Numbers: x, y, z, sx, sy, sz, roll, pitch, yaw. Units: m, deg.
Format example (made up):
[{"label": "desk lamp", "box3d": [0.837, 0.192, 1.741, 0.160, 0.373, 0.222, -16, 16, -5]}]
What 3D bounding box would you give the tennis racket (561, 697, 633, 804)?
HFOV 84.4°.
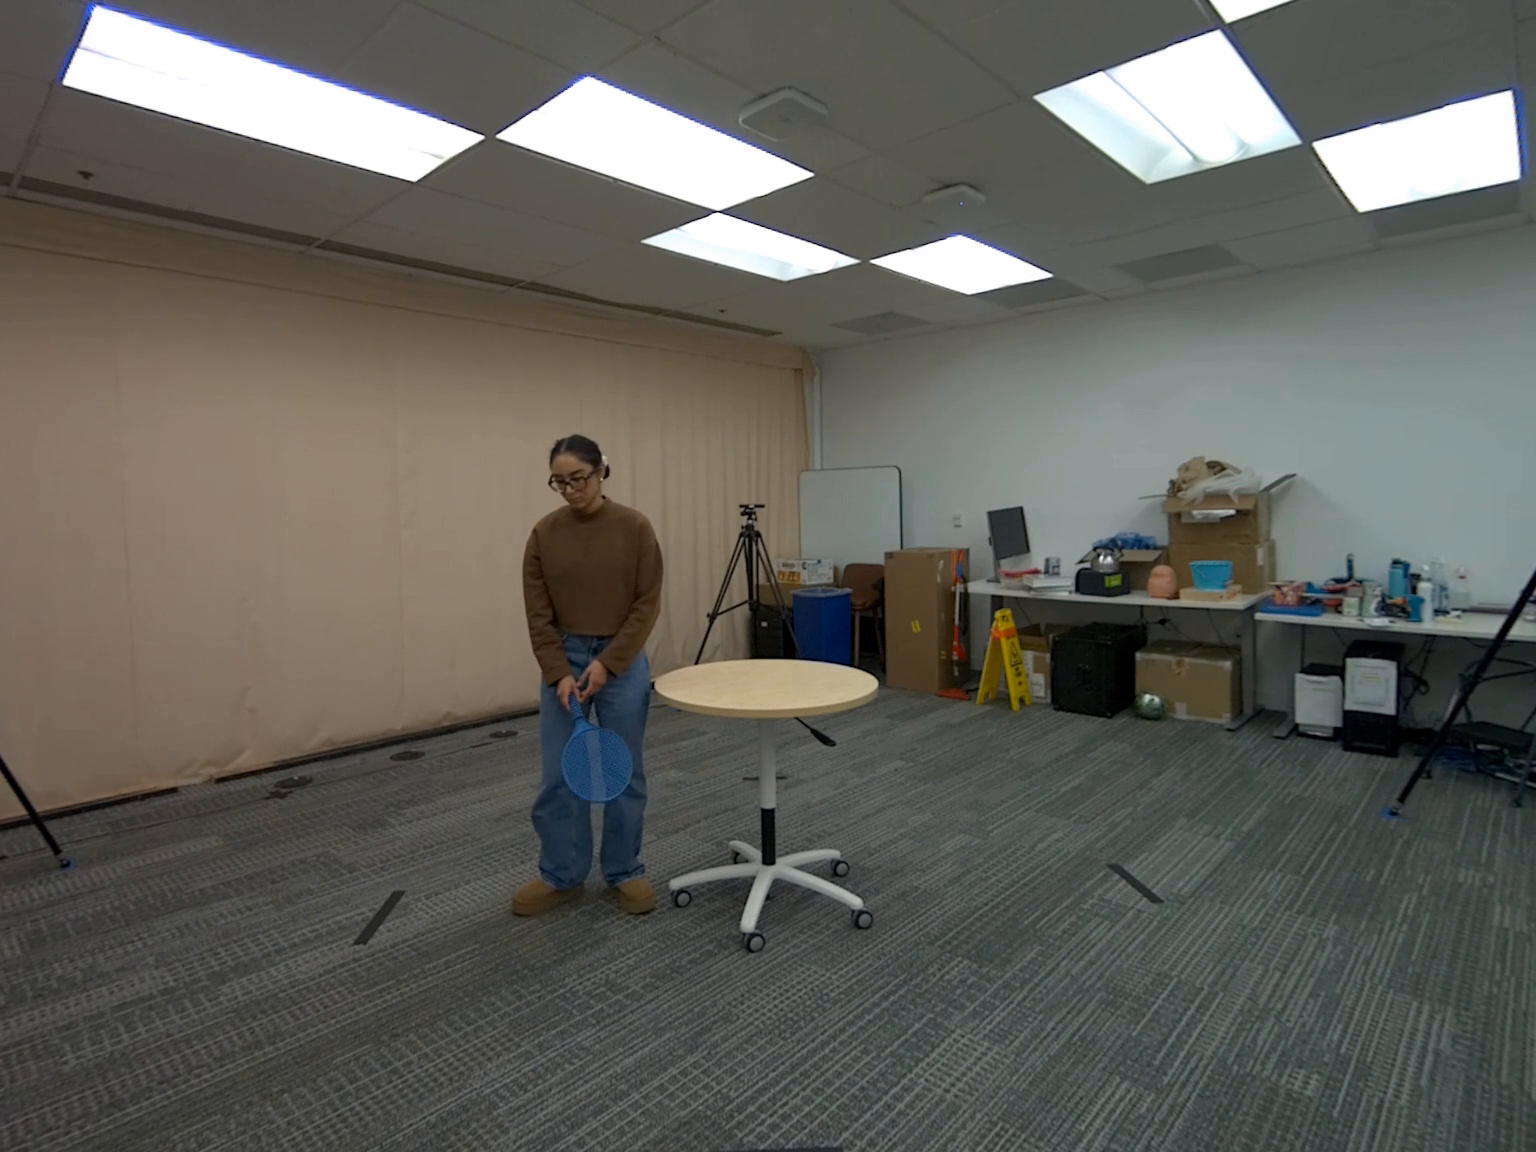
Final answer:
[{"label": "tennis racket", "box3d": [-0.563, 0.522, 2.684, 0.211, 0.031, 0.447, -22, 53, -16]}]
